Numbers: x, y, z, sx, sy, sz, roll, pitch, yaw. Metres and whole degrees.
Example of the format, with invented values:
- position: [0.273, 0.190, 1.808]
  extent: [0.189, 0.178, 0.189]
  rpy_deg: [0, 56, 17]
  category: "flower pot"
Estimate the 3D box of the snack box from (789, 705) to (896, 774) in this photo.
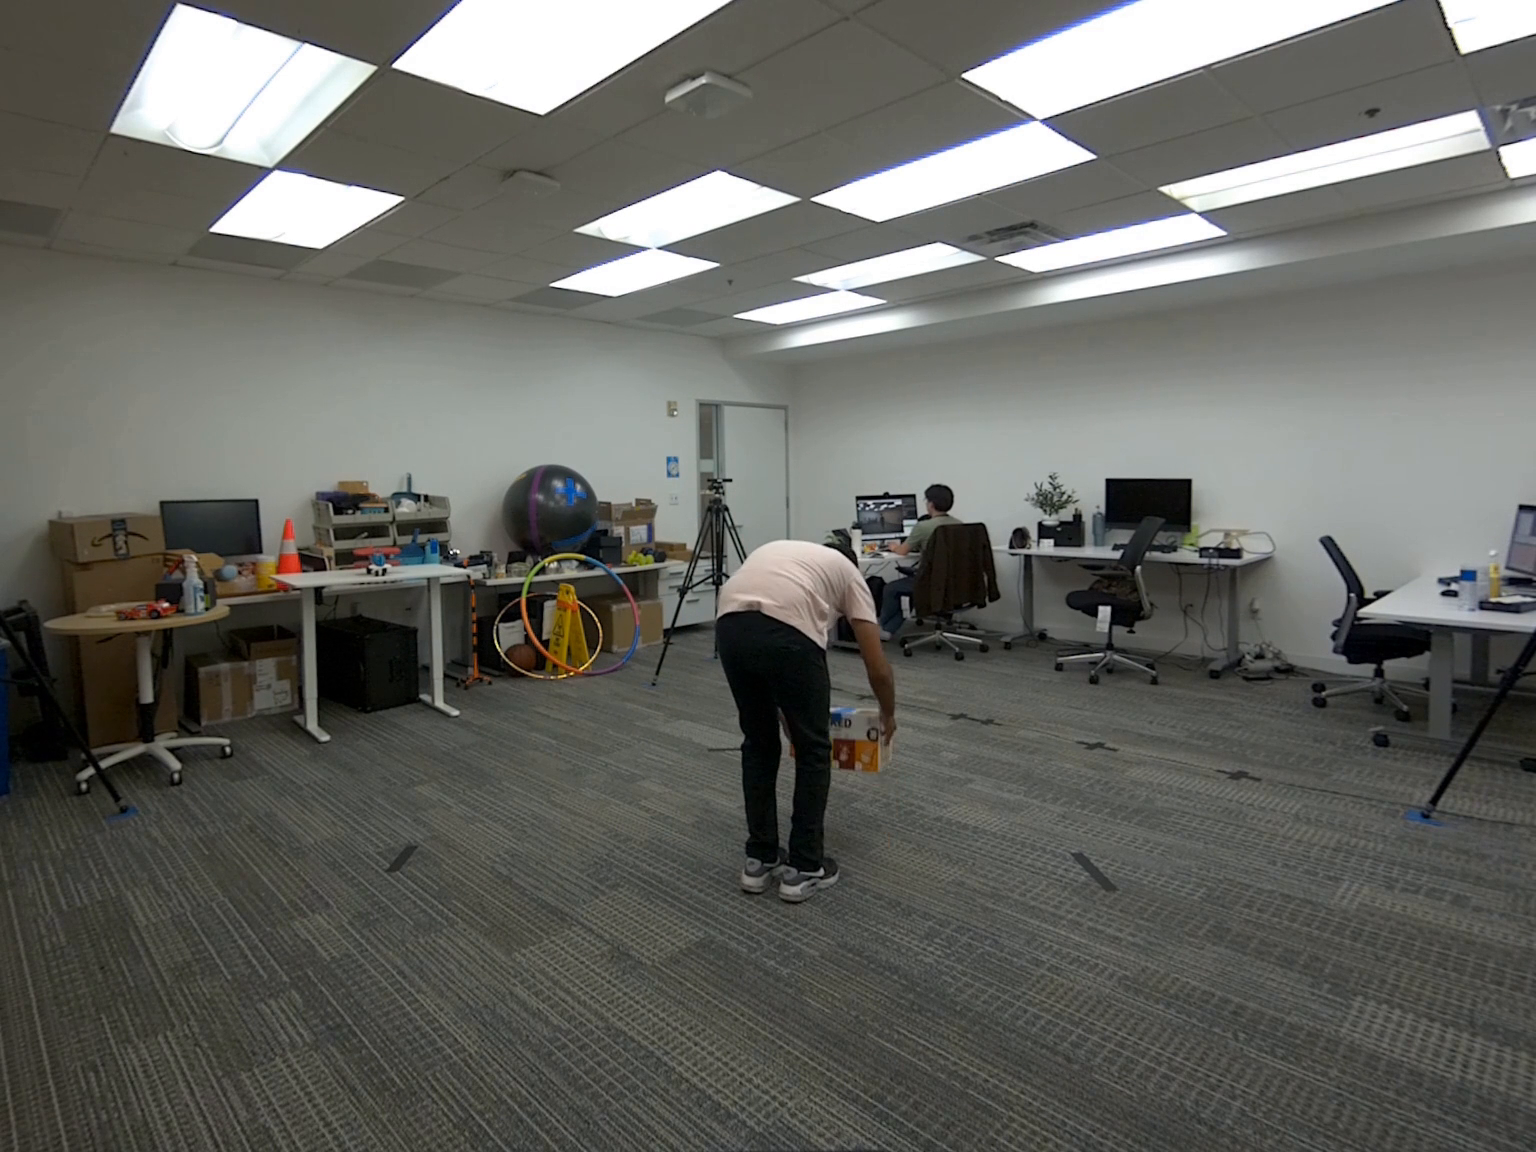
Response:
- position: [0.300, 0.627, 3.359]
  extent: [0.346, 0.207, 0.396]
  rpy_deg: [0, -6, 16]
  category: "snack box"
